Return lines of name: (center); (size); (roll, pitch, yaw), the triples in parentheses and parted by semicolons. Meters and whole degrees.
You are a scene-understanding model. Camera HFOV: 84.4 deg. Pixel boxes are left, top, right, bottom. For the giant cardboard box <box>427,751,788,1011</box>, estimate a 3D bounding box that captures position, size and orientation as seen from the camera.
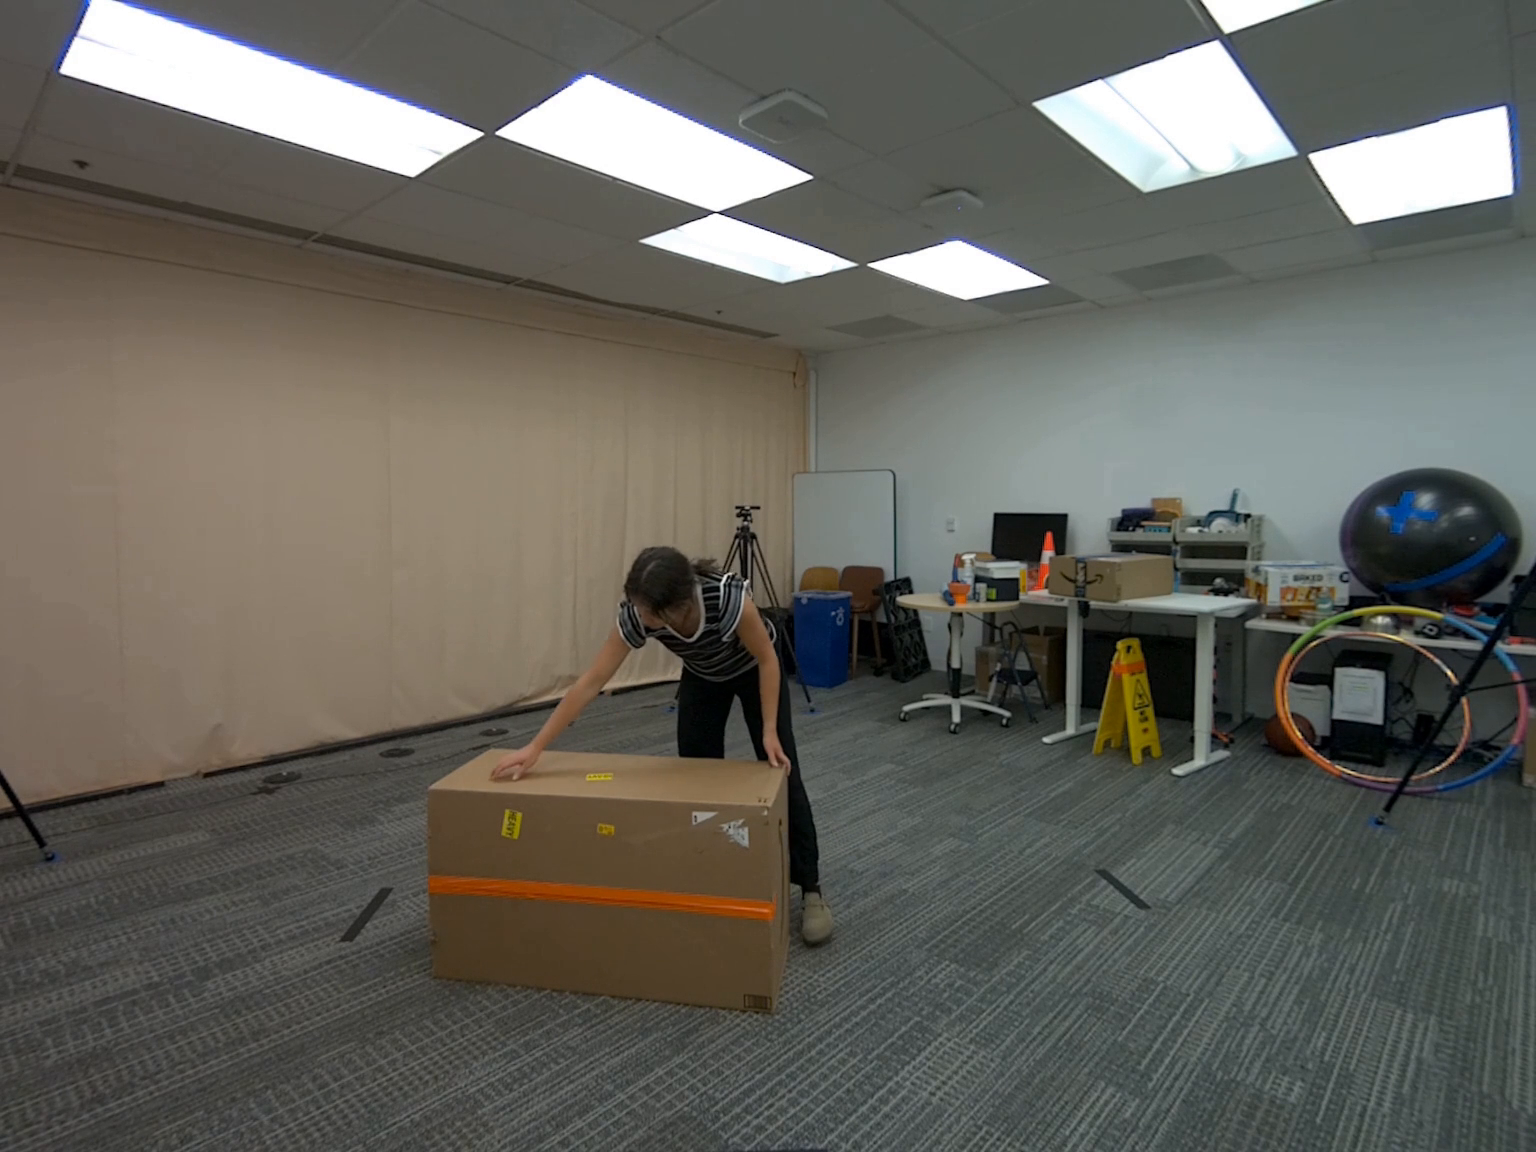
giant cardboard box: (-0.474, 0.889, 2.583); (1.038, 0.576, 0.422); (0, 3, 10)
